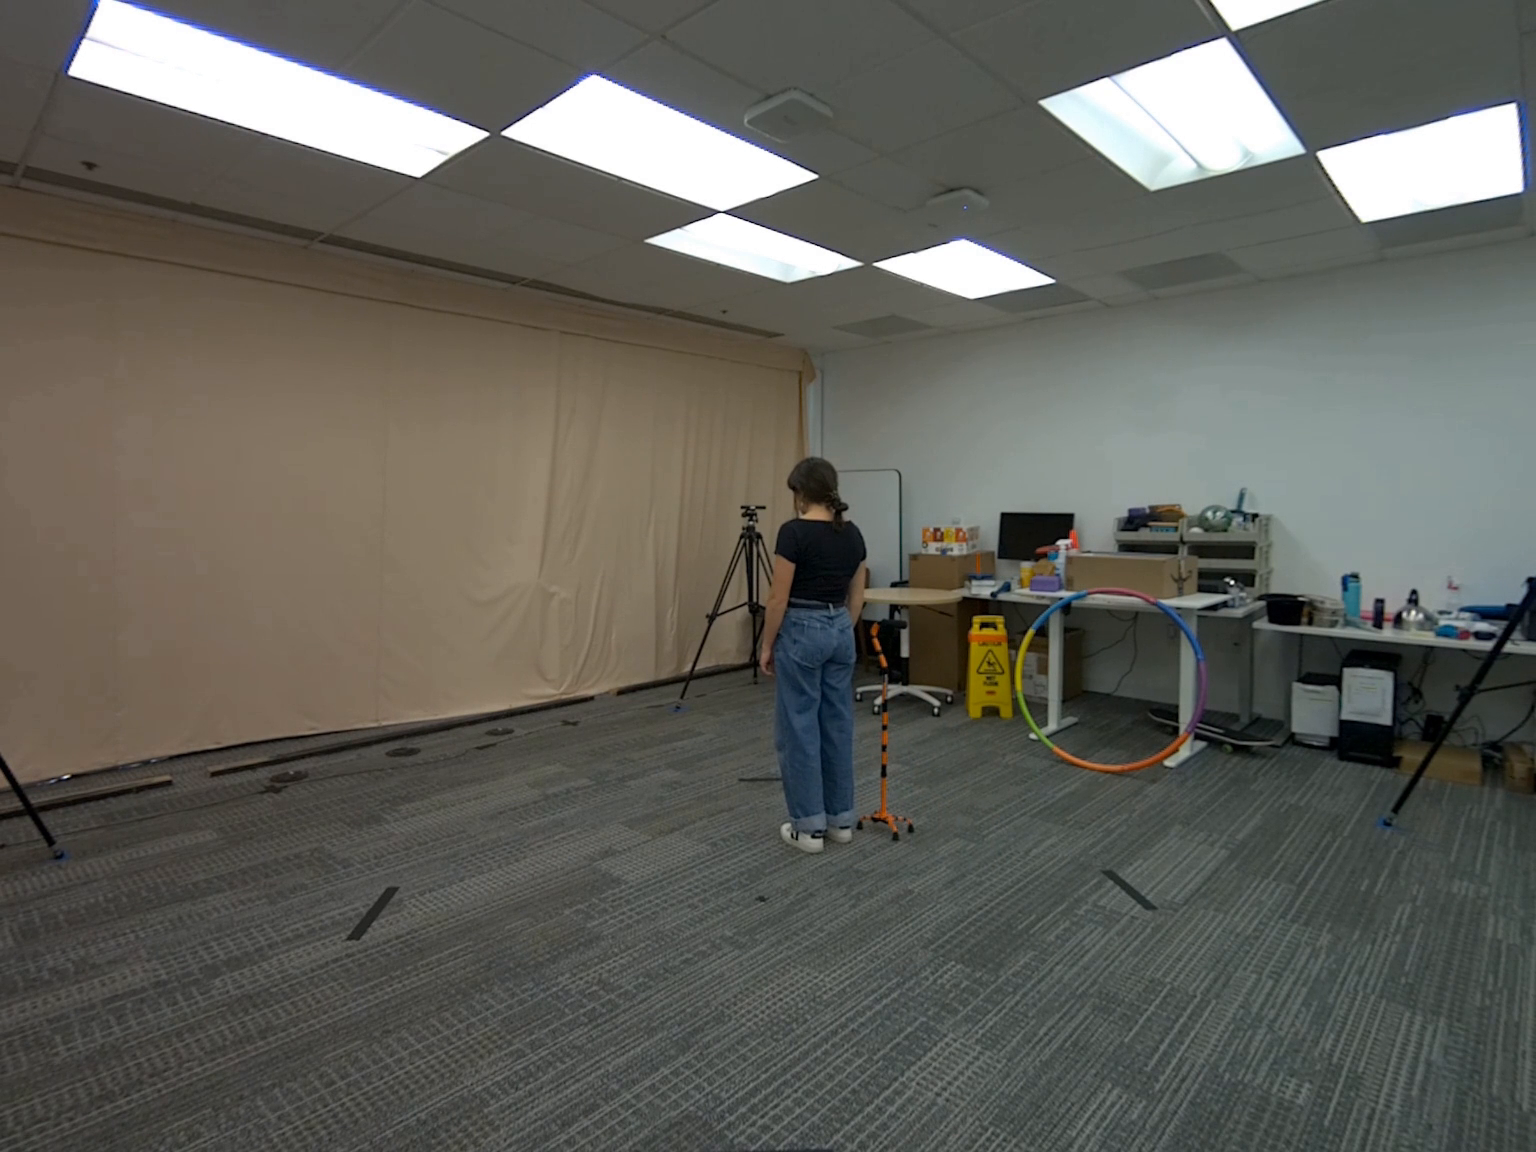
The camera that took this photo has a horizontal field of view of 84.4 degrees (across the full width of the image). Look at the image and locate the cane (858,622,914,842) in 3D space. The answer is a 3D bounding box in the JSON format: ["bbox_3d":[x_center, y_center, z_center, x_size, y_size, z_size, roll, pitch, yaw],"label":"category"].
[{"bbox_3d":[0.518,0.643,3.587,0.213,0.906,0.147,3,4,42],"label":"cane"}]
